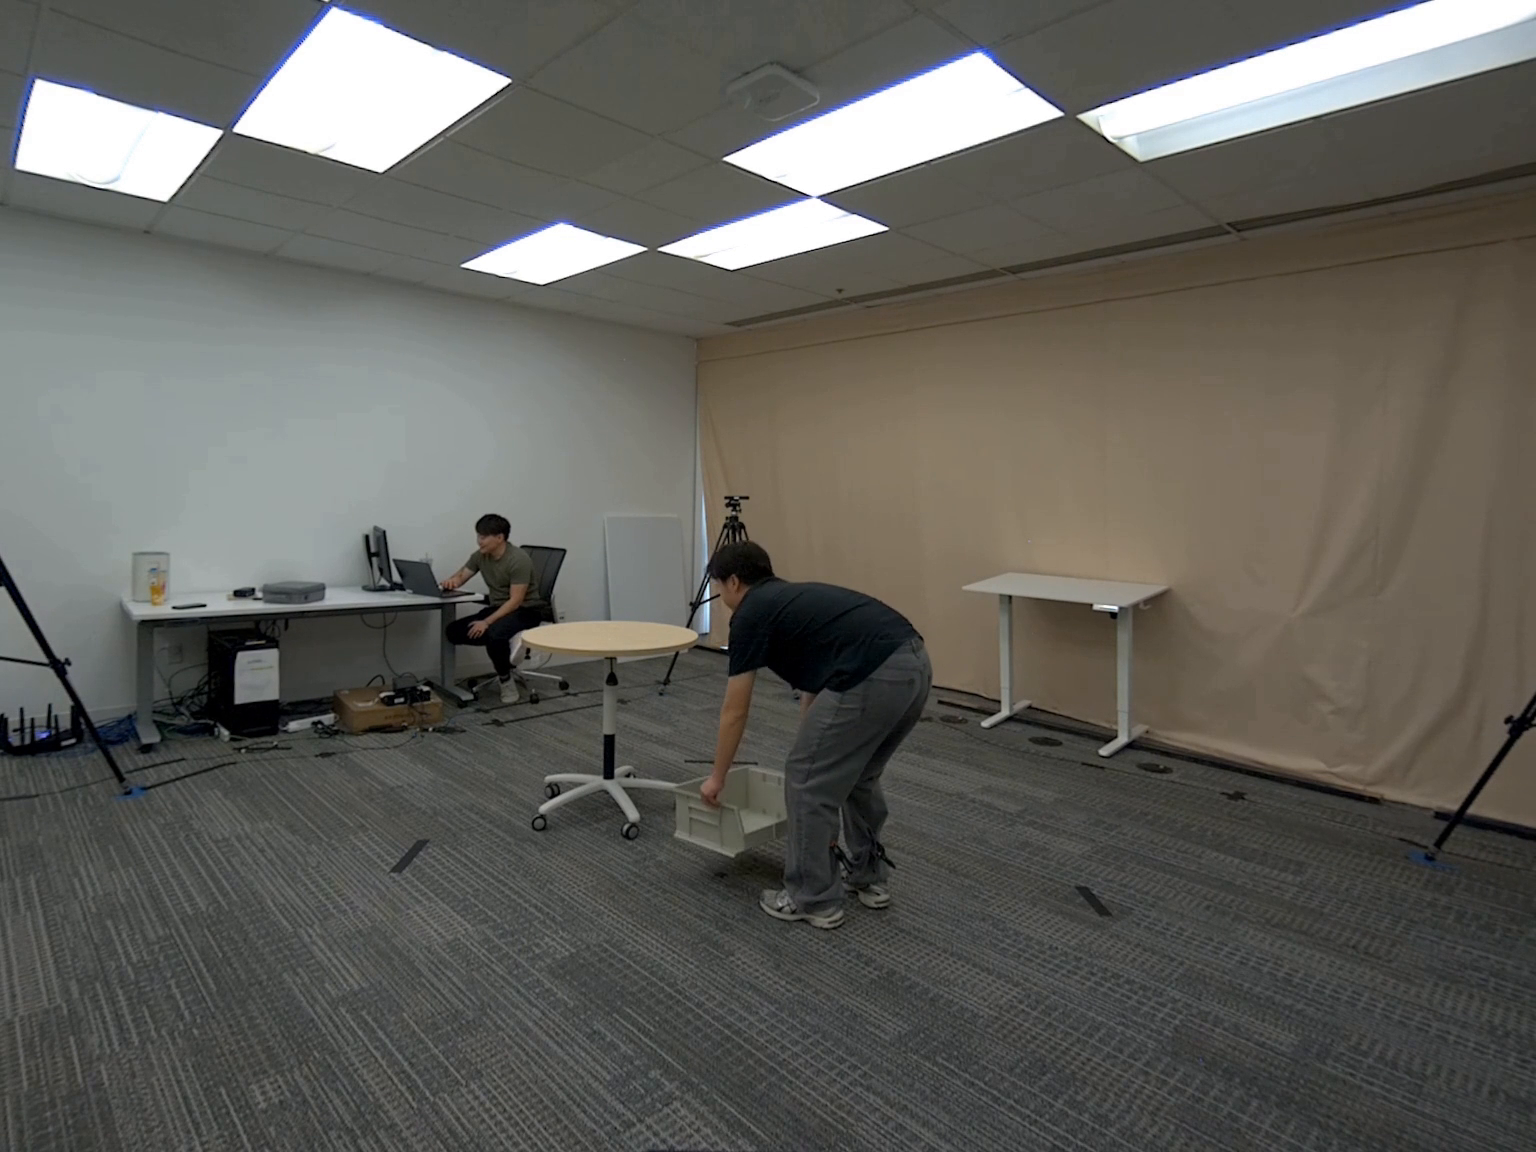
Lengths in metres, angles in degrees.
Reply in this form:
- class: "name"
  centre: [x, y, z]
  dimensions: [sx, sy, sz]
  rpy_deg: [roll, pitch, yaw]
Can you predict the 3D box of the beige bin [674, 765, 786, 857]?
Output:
- class: "beige bin"
  centre: [-0.088, 0.855, 3.107]
  dimensions: [0.386, 0.189, 0.413]
  rpy_deg: [0, 2, 43]
